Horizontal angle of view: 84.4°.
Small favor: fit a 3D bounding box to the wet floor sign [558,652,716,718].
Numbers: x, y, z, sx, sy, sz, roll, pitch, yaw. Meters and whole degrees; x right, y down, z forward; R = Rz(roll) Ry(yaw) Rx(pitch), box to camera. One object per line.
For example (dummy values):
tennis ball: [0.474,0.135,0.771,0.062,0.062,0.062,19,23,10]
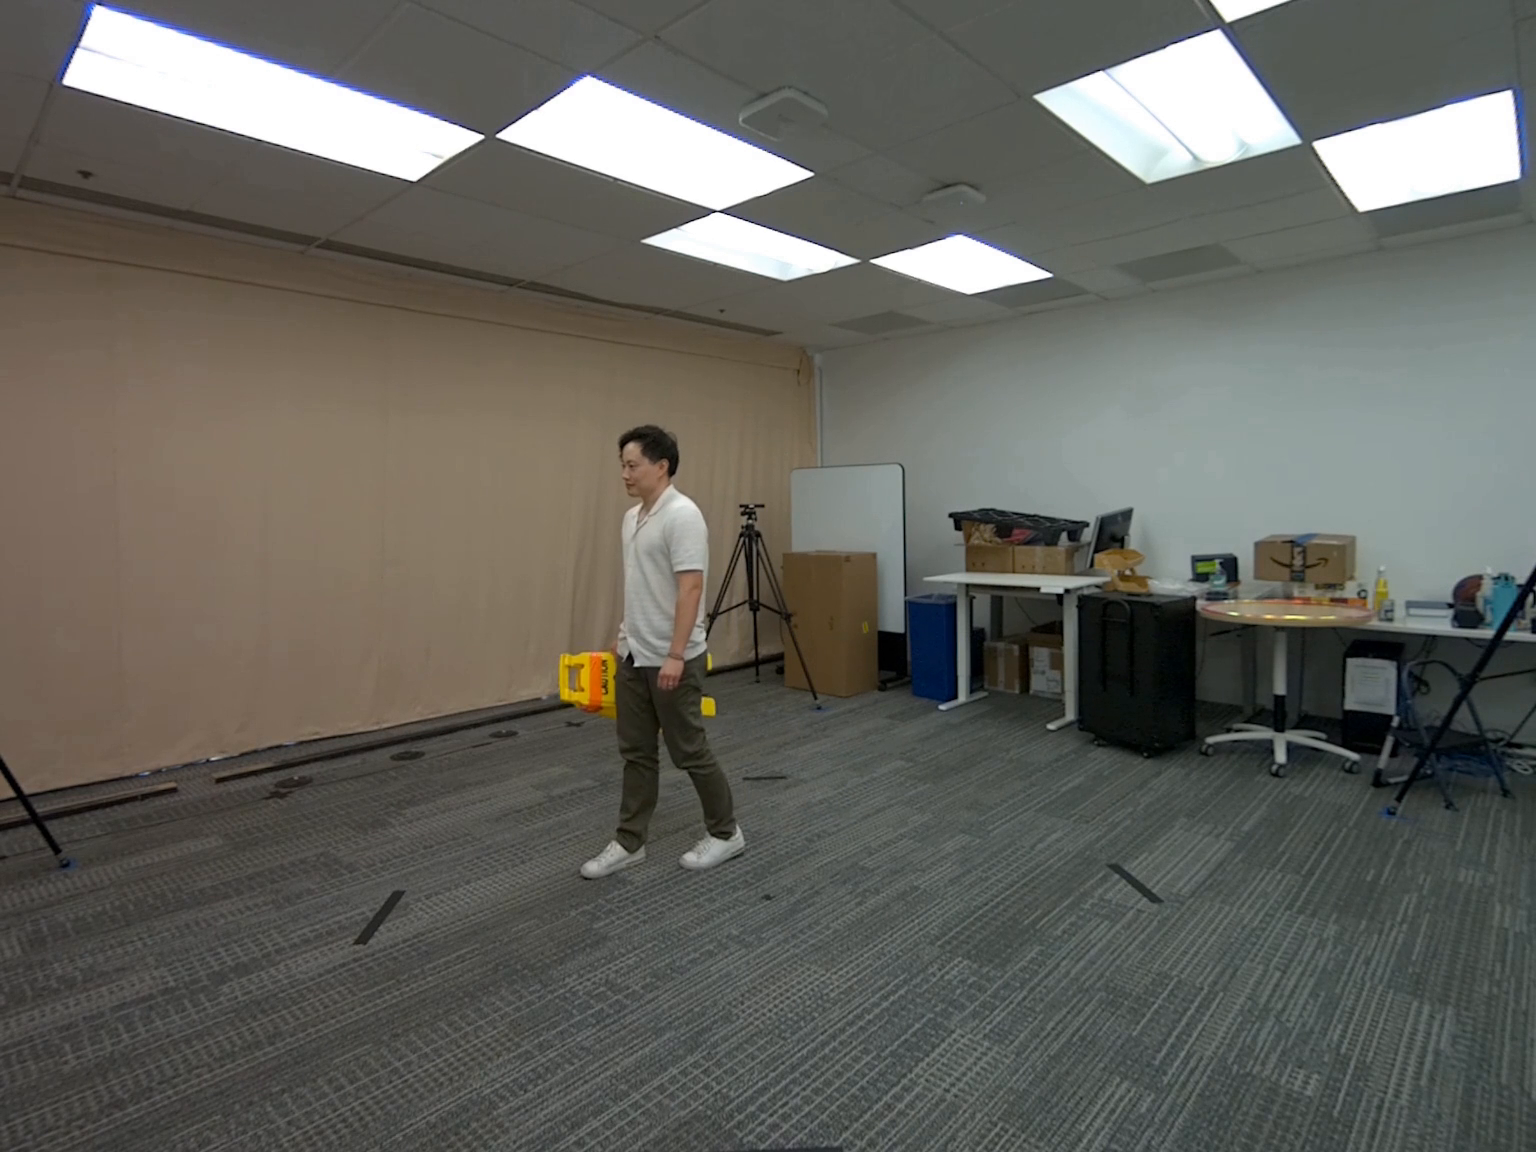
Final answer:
wet floor sign: [-0.577,0.464,3.524,0.626,0.287,0.294,14,-34,-32]
